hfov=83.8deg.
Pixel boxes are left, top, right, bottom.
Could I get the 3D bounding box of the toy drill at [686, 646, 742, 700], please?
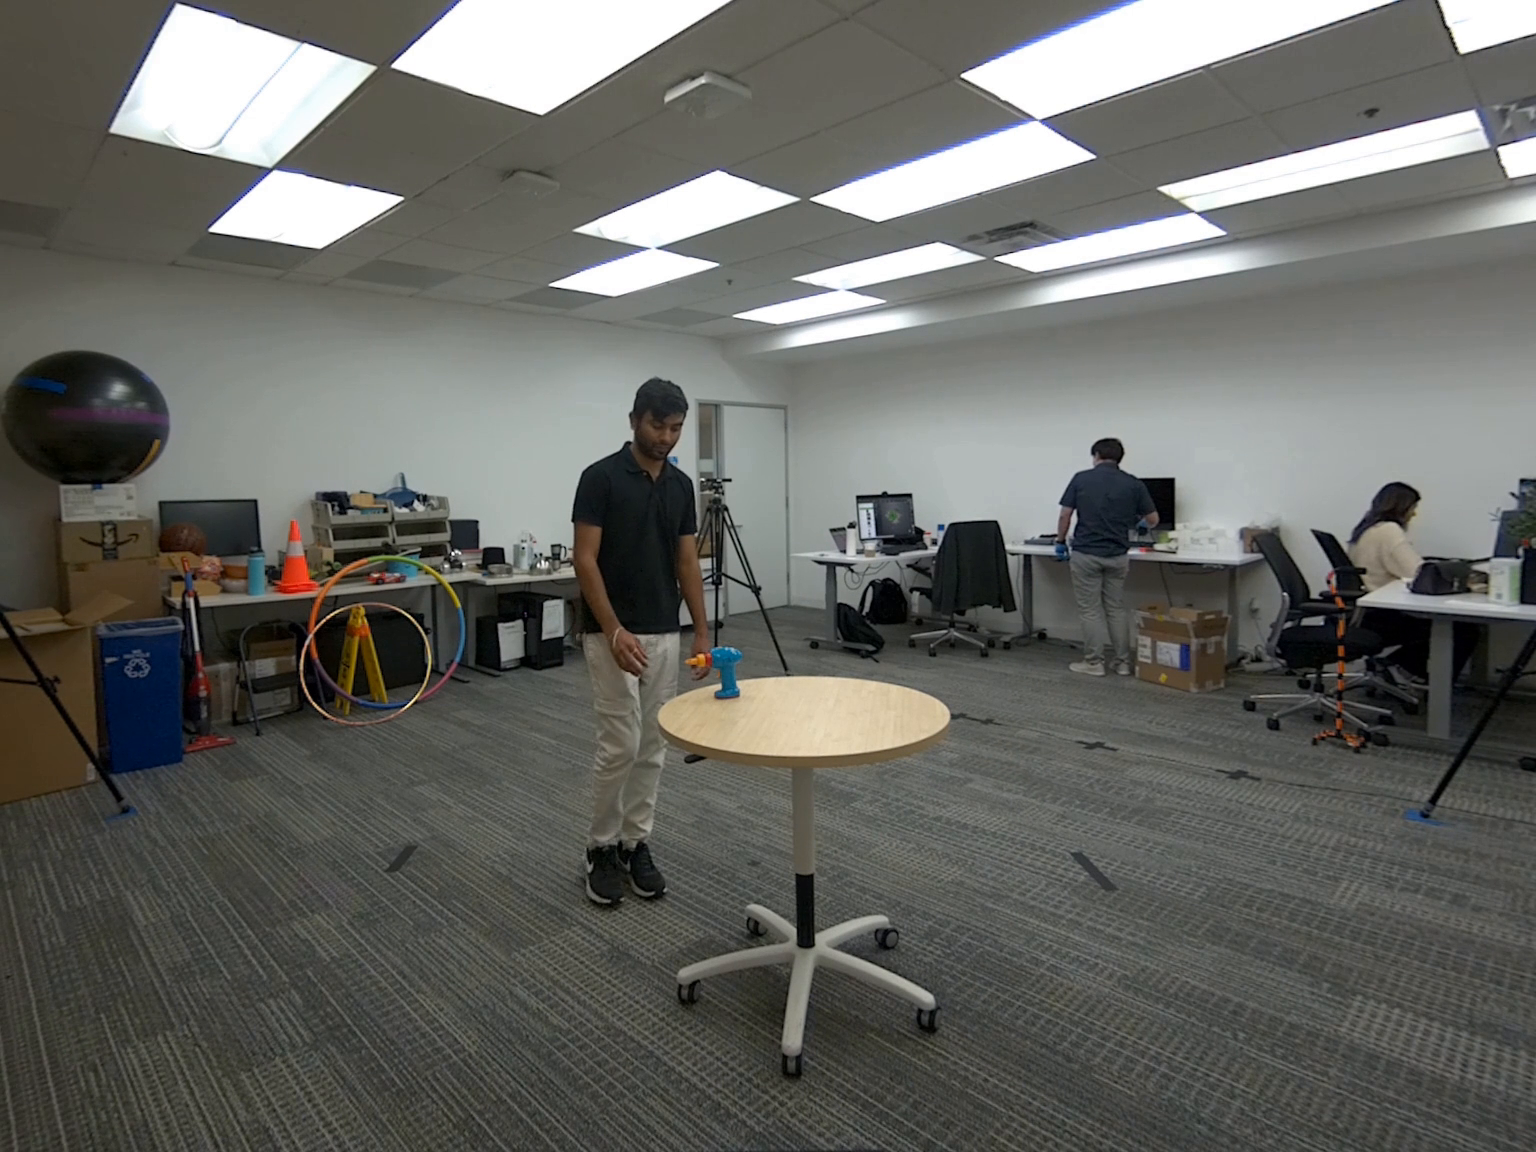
[{"bbox_3d":[-0.151,0.275,2.403,0.166,0.145,0.063,-3,7,-22],"label":"toy drill"}]
